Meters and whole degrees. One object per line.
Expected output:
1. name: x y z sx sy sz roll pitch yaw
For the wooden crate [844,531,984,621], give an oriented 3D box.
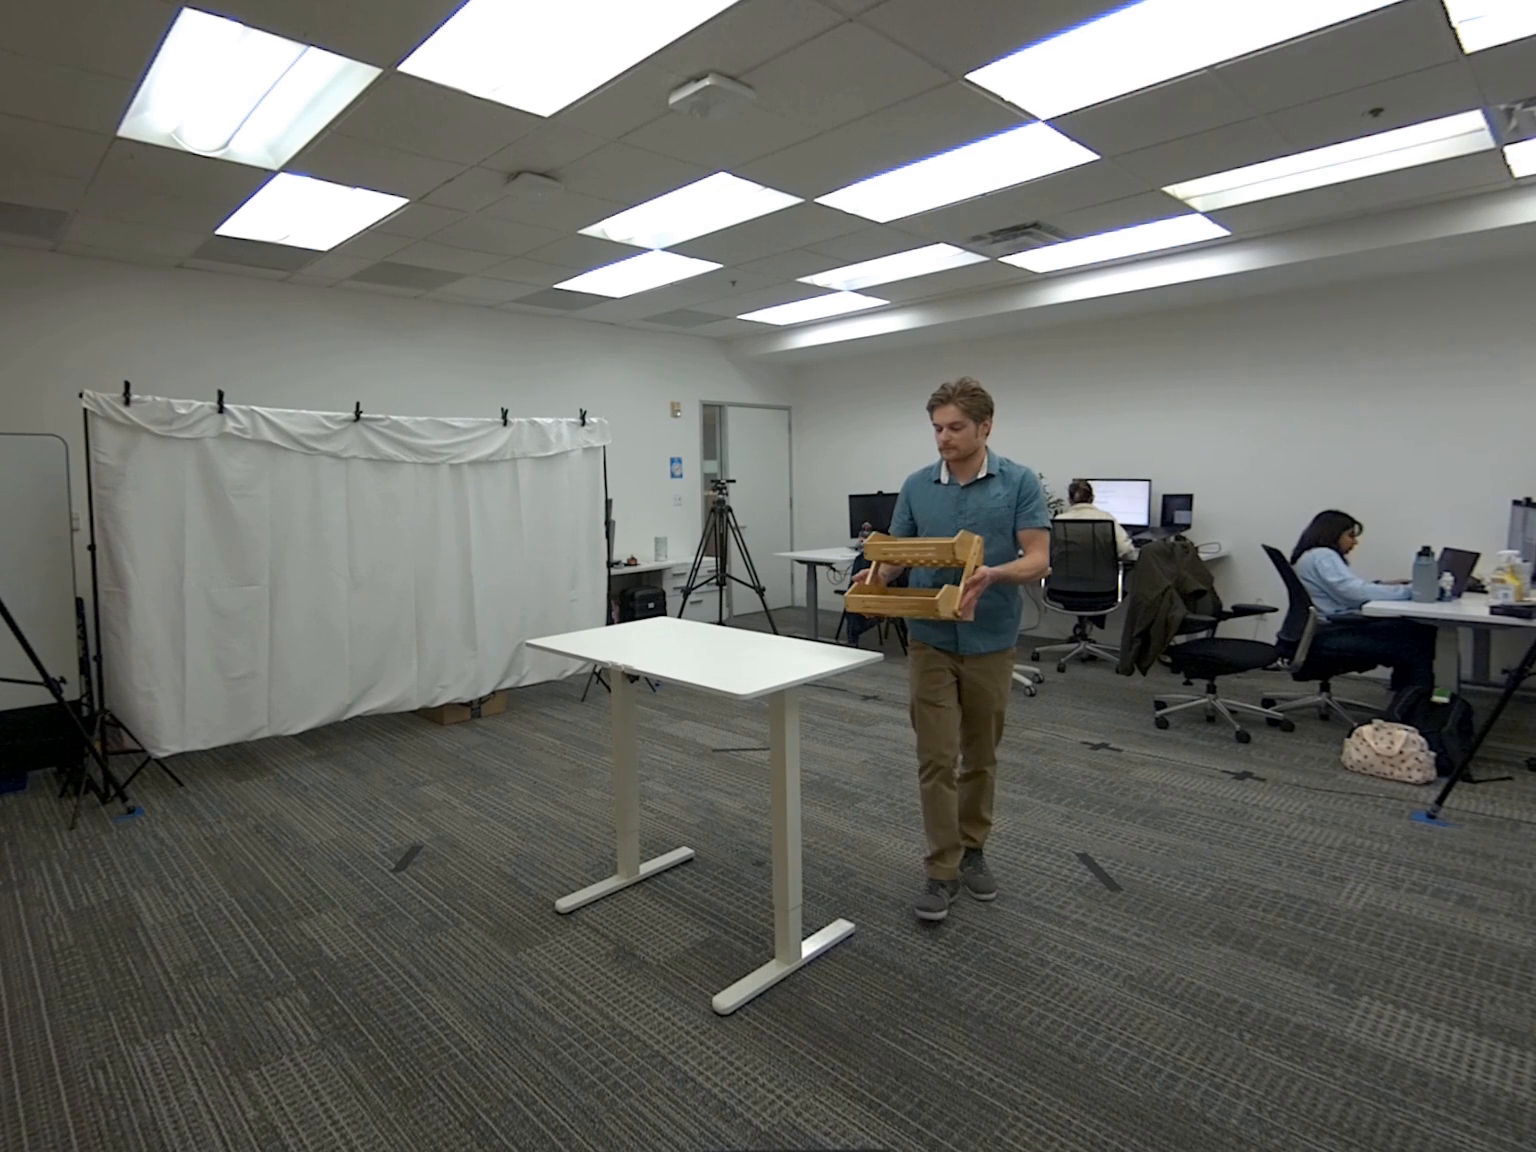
1. wooden crate: 0.454 -0.009 2.577 0.334 0.275 0.292 0 -7 38
